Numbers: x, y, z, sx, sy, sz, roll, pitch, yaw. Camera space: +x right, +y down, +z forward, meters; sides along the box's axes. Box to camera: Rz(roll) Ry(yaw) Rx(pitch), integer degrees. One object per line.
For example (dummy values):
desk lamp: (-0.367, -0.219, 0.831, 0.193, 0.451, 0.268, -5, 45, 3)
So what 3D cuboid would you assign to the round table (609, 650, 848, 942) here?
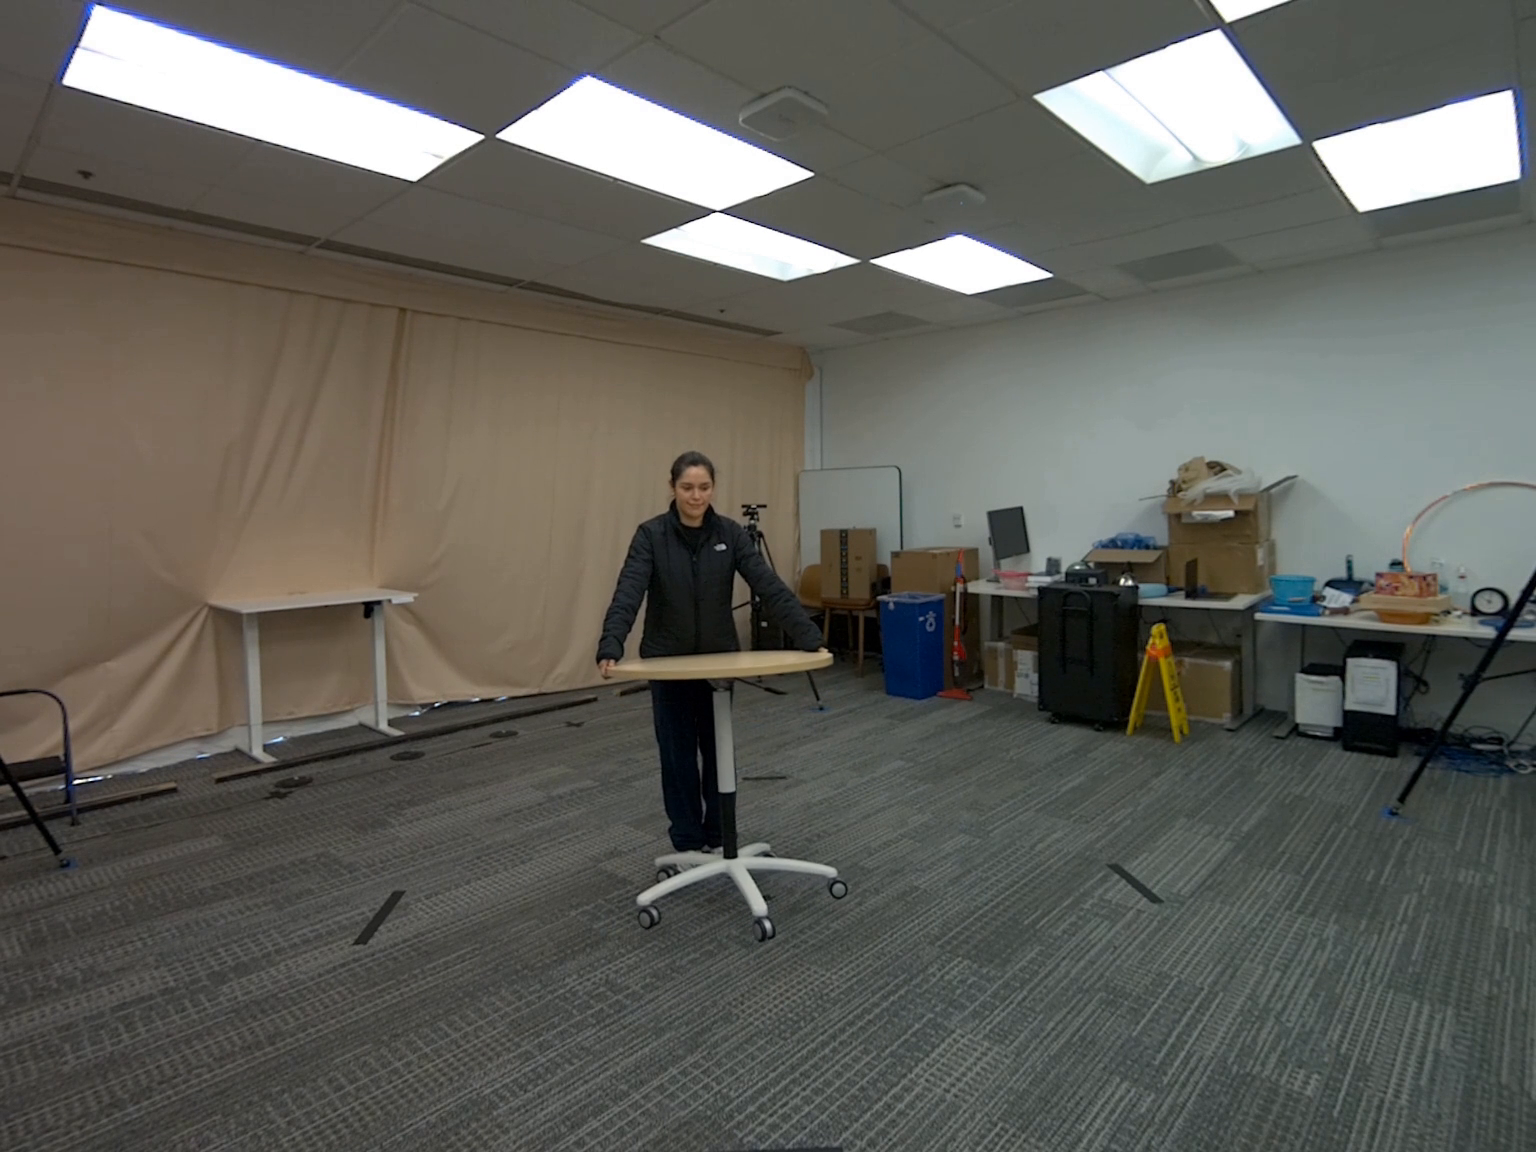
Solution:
round table: (-0.130, 0.688, 2.845, 0.784, 0.788, 0.784, -3, -3, -2)
